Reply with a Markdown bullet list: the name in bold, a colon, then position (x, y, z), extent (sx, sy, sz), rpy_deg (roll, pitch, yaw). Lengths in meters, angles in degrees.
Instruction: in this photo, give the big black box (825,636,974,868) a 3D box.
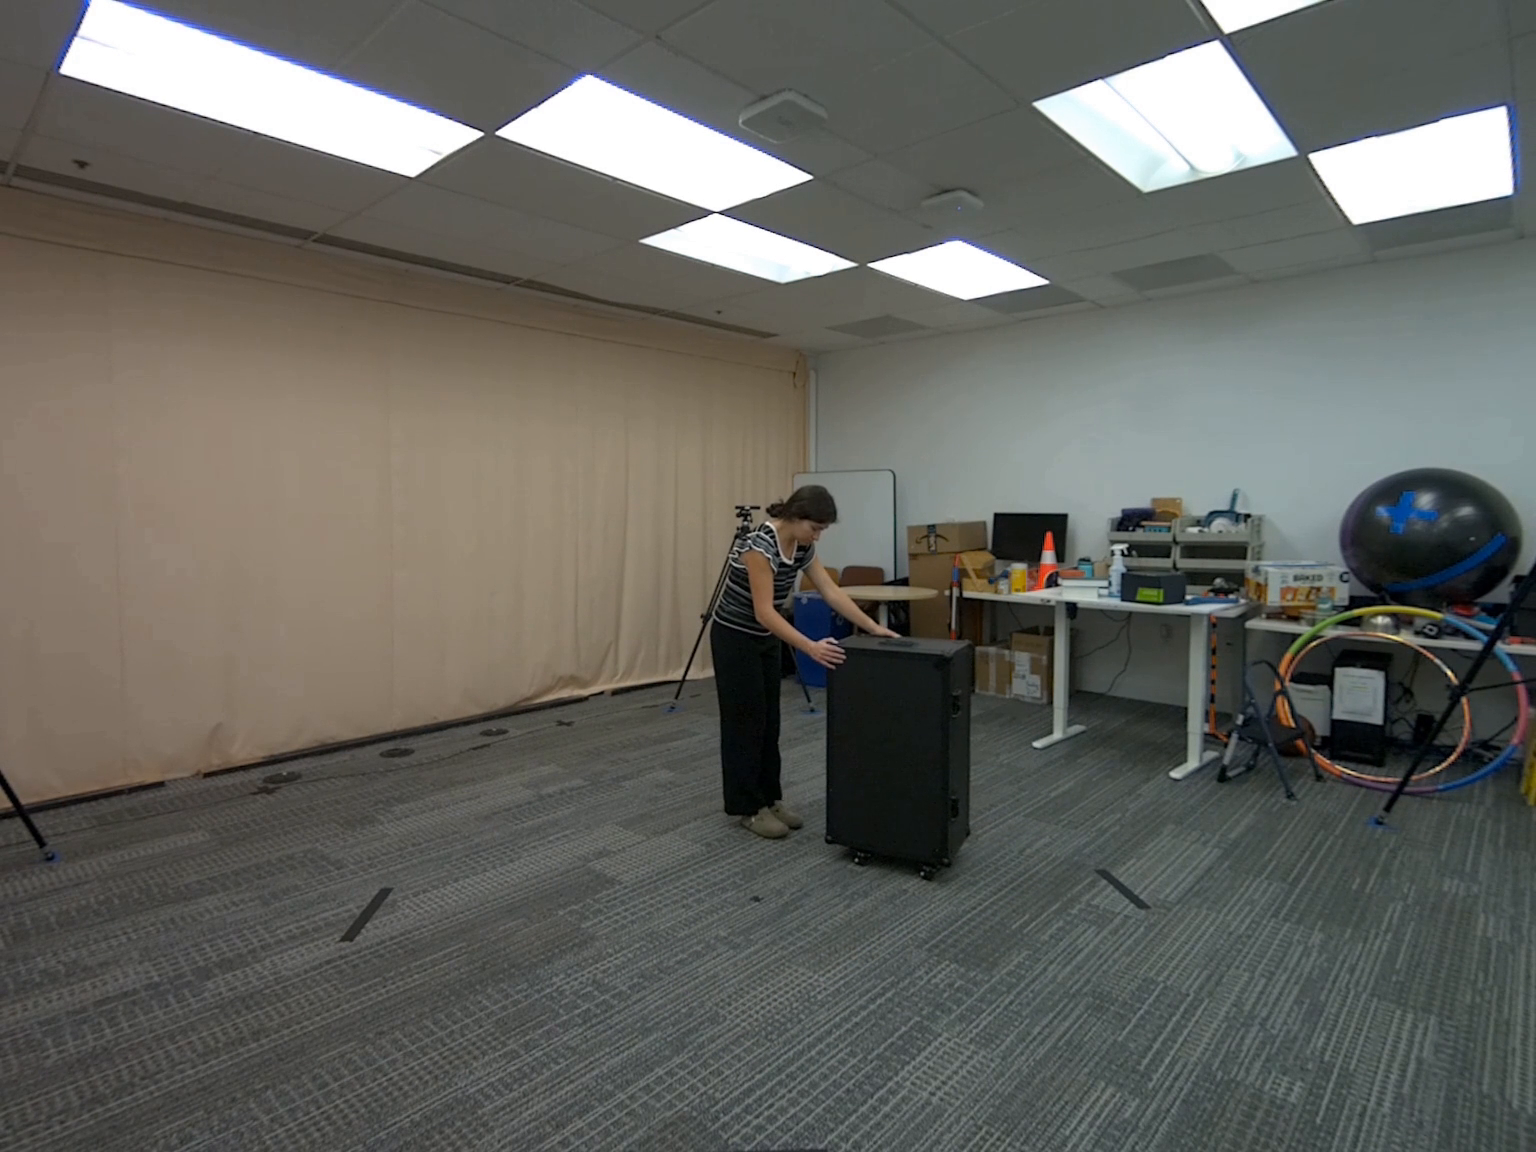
- **big black box**: position (0.525, 0.692, 3.333), extent (0.535, 0.860, 0.386), rpy_deg (2, 2, 28)
